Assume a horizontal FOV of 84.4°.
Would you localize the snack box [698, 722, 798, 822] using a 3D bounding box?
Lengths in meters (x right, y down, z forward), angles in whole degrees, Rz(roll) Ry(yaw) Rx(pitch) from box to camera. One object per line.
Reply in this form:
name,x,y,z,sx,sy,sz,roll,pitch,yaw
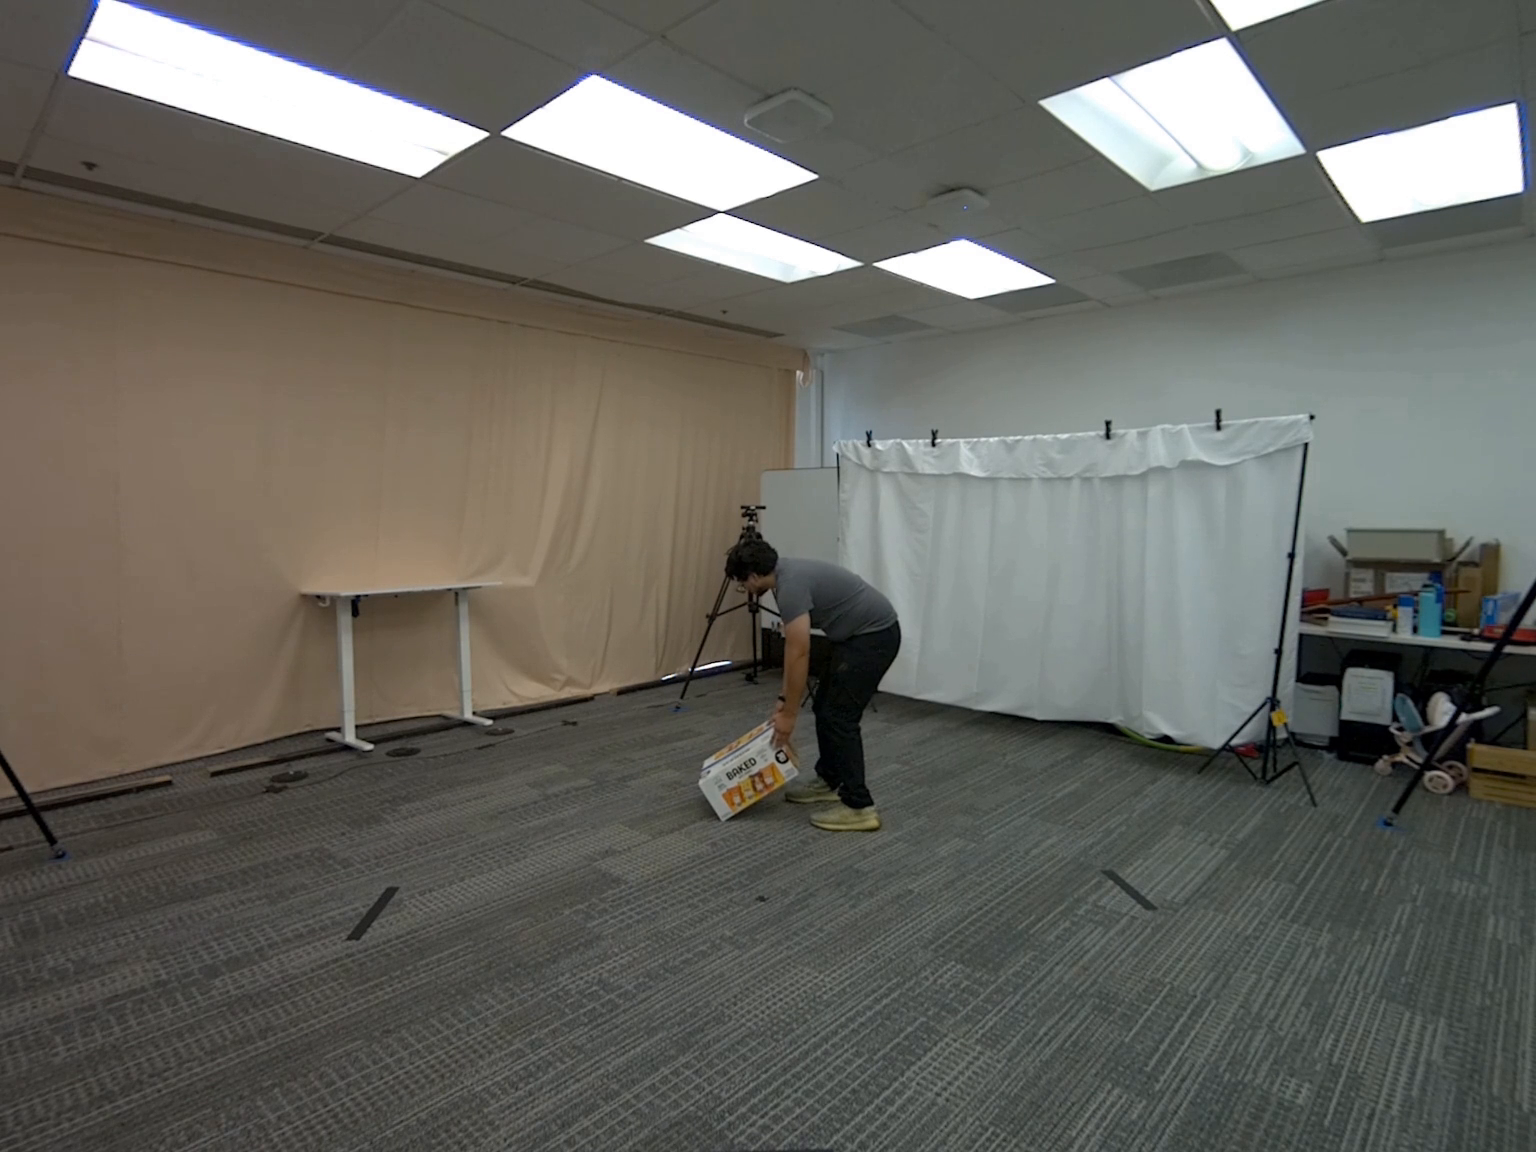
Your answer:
snack box,-0.084,0.879,3.876,0.406,0.205,0.340,-32,3,4
